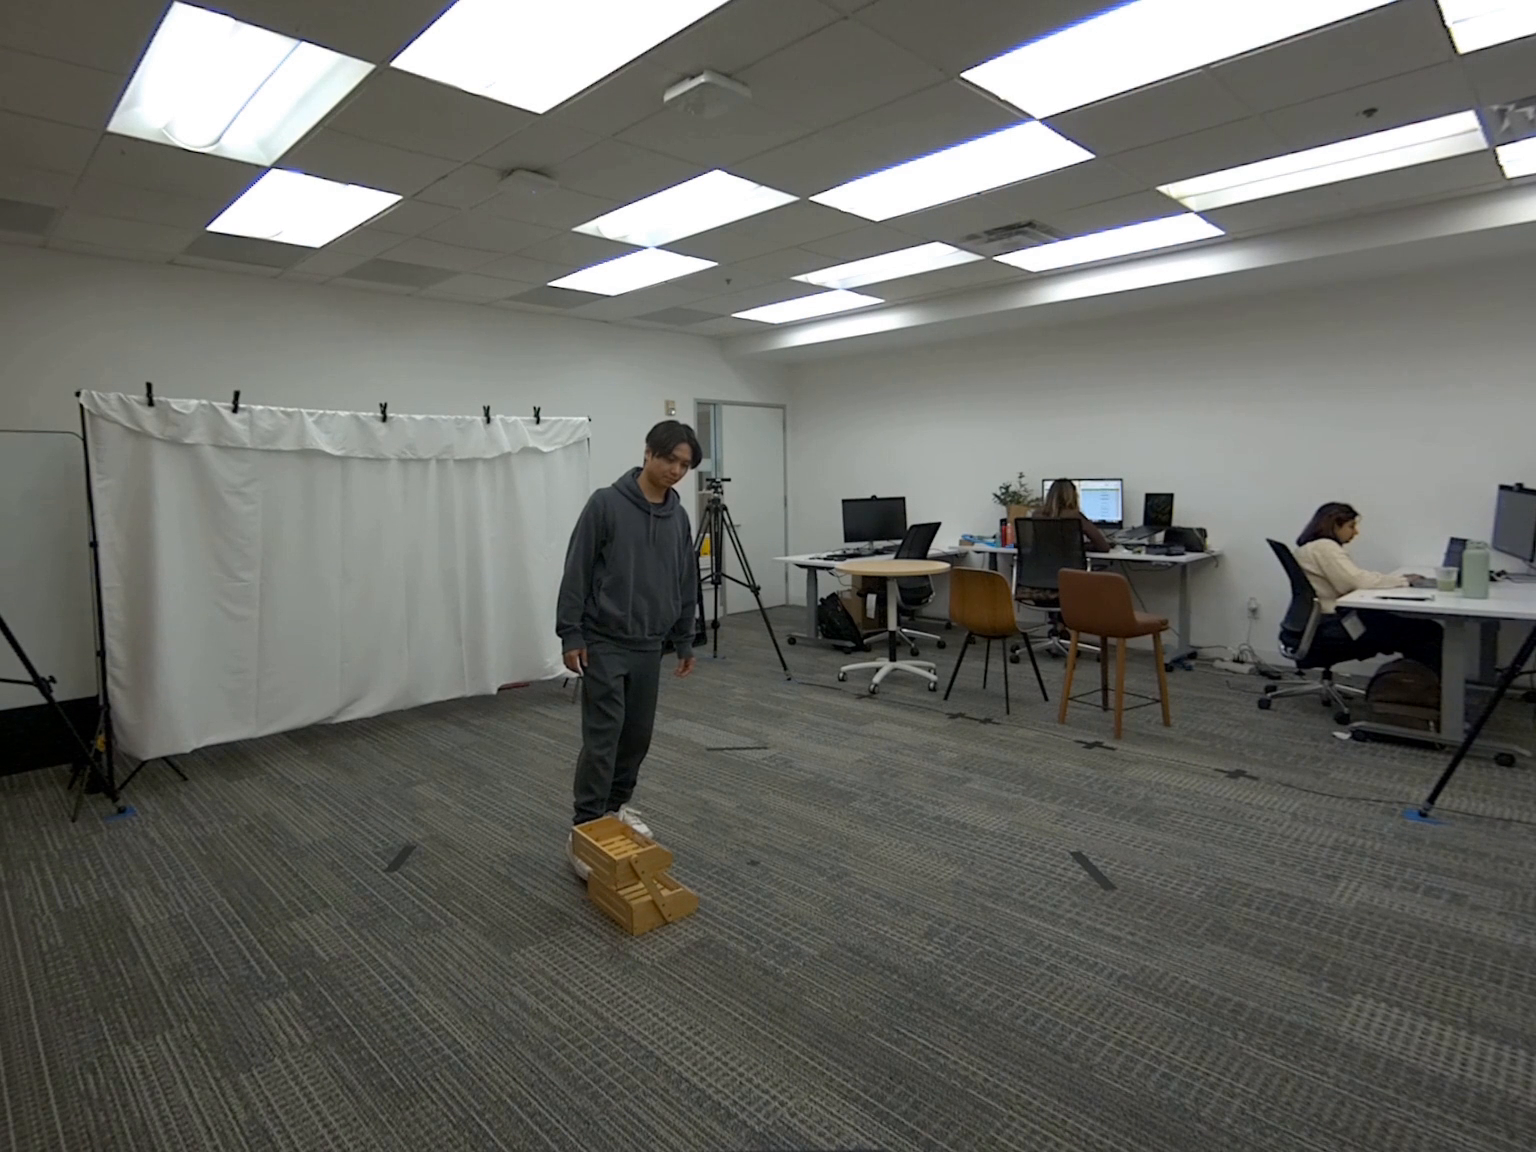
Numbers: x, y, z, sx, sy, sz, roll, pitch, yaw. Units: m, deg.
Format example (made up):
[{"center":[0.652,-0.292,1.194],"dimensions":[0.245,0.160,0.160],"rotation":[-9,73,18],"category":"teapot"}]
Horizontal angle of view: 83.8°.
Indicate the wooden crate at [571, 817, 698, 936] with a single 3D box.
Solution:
[{"center":[-0.428,0.949,2.795],"dimensions":[0.294,0.272,0.334],"rotation":[-7,8,-38],"category":"wooden crate"}]
